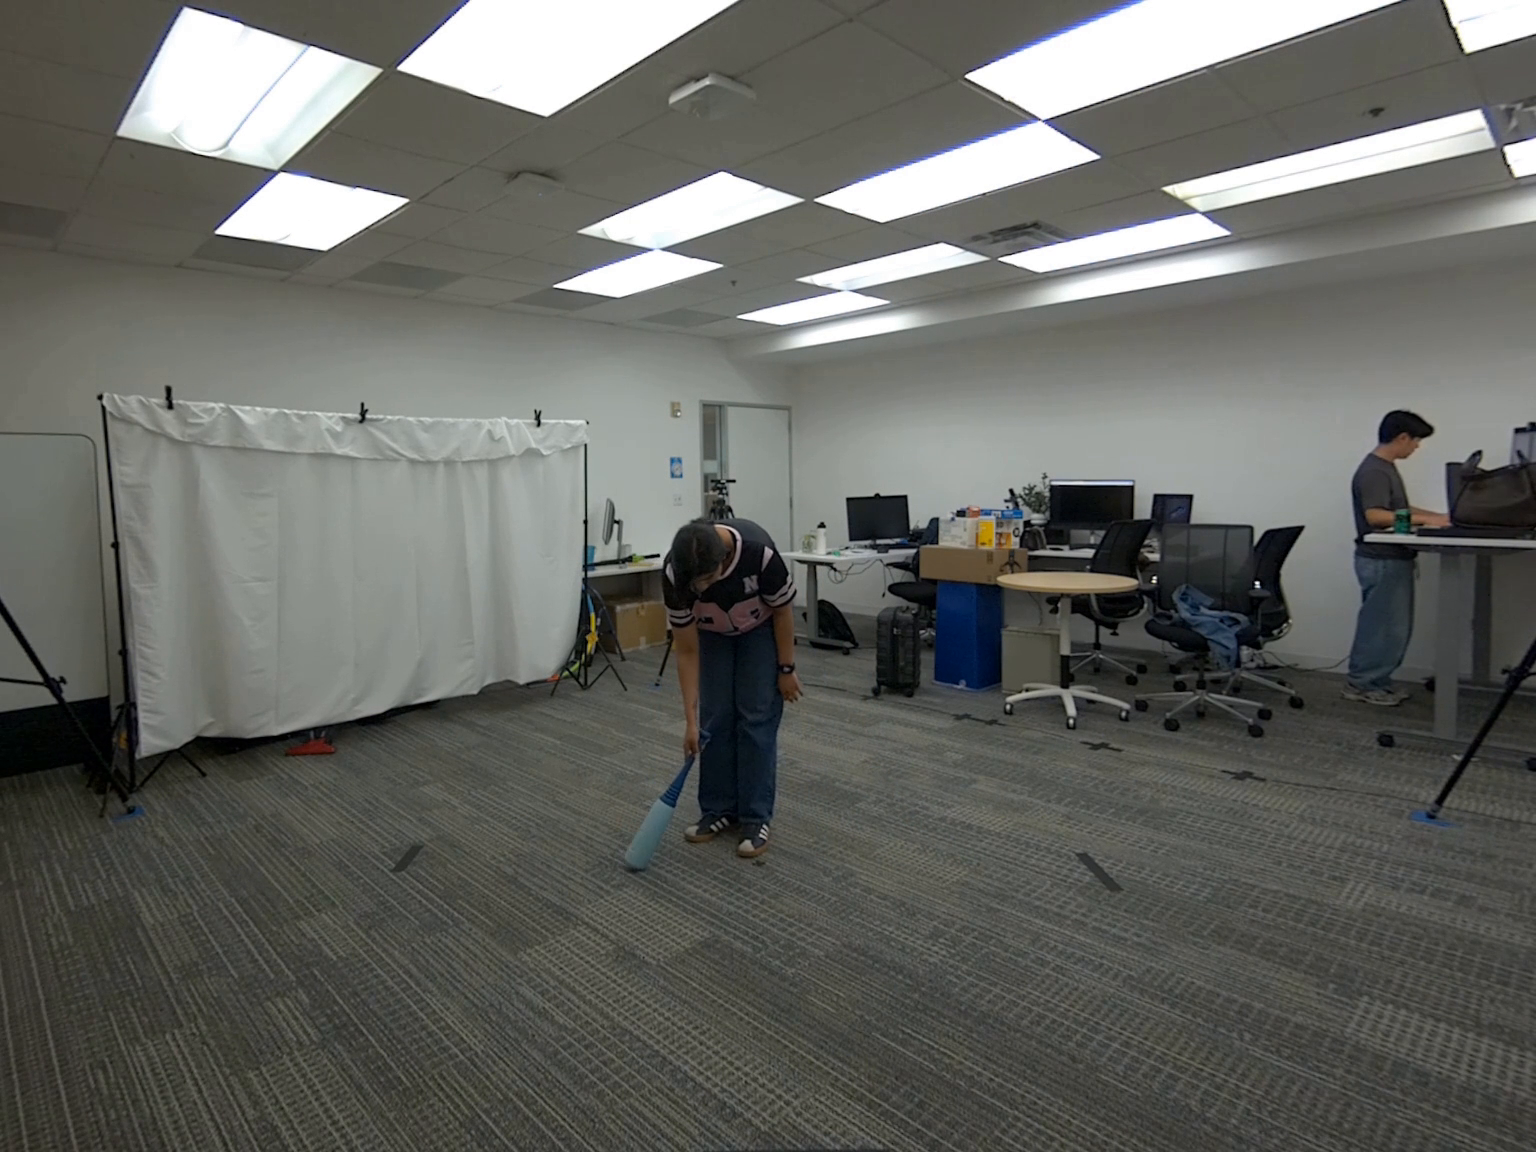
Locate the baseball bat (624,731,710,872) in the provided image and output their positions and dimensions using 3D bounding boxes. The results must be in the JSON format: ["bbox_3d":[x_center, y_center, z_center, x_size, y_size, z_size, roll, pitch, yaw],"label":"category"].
[{"bbox_3d":[-0.350,0.815,3.100,0.089,0.544,0.089,30,-5,1],"label":"baseball bat"}]
